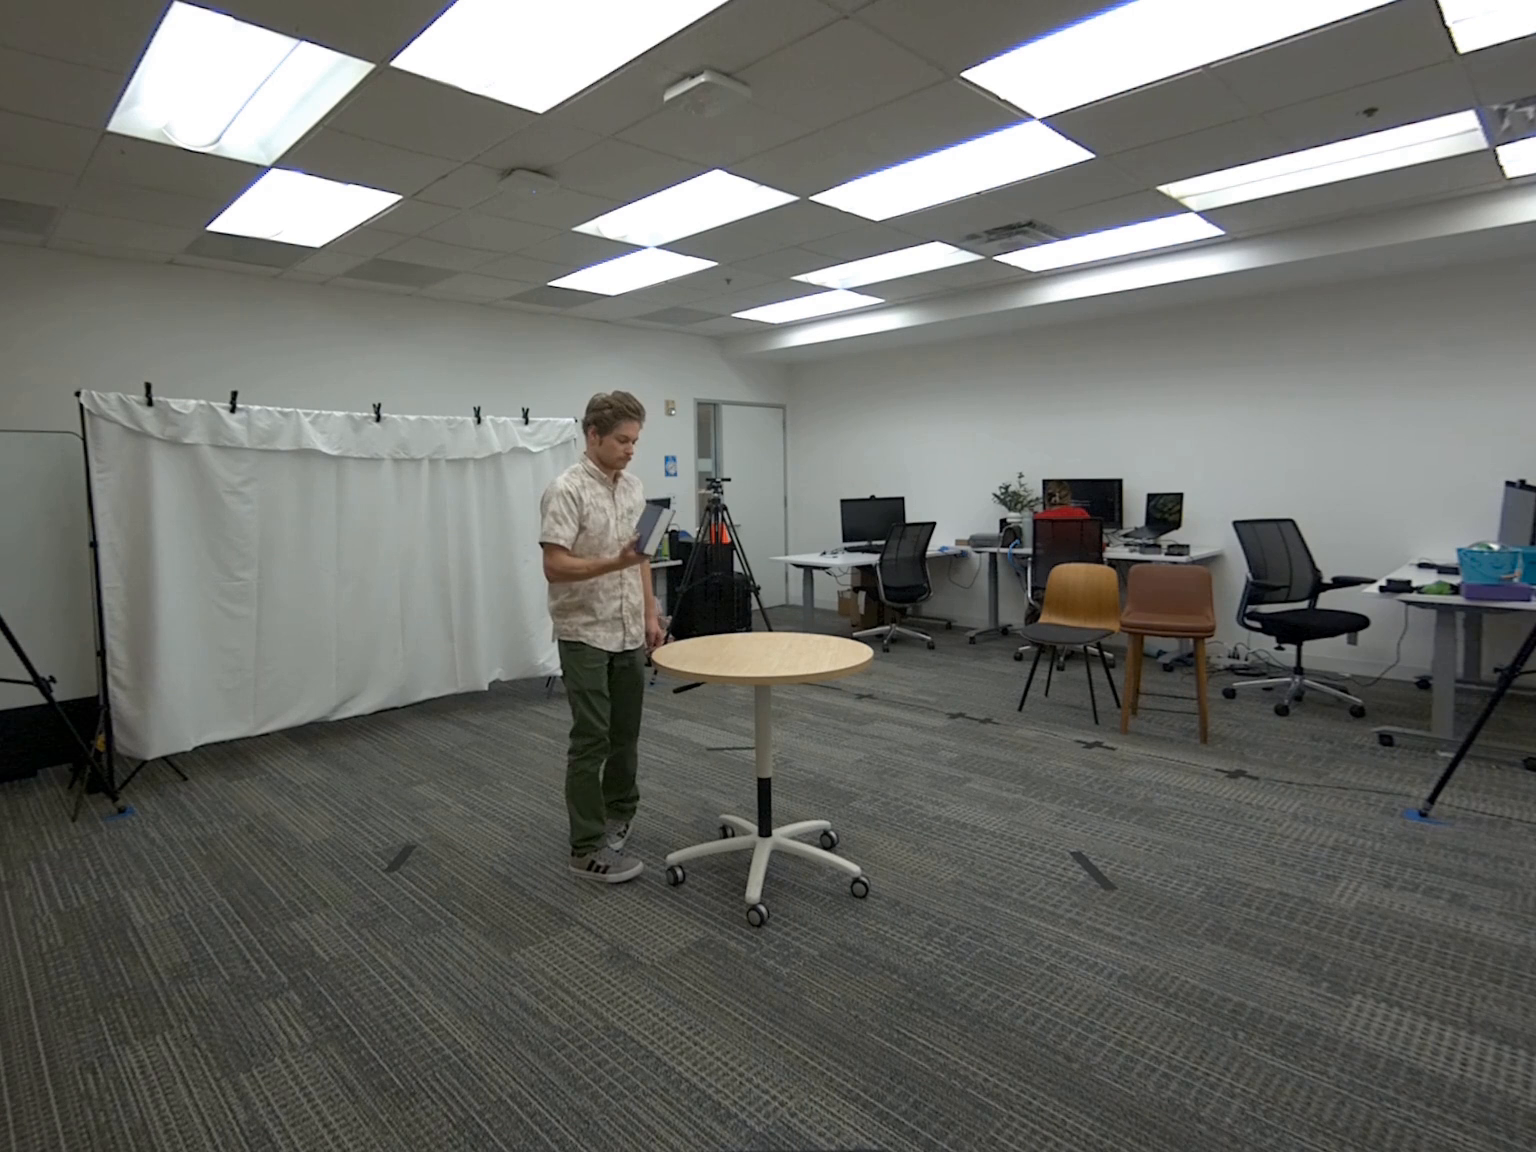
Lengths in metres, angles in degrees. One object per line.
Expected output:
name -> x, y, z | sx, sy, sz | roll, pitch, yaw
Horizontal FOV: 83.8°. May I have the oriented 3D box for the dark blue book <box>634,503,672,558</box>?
dark blue book -> -0.379, -0.150, 2.807 | 0.044, 0.163, 0.248 | 21, -2, -13
